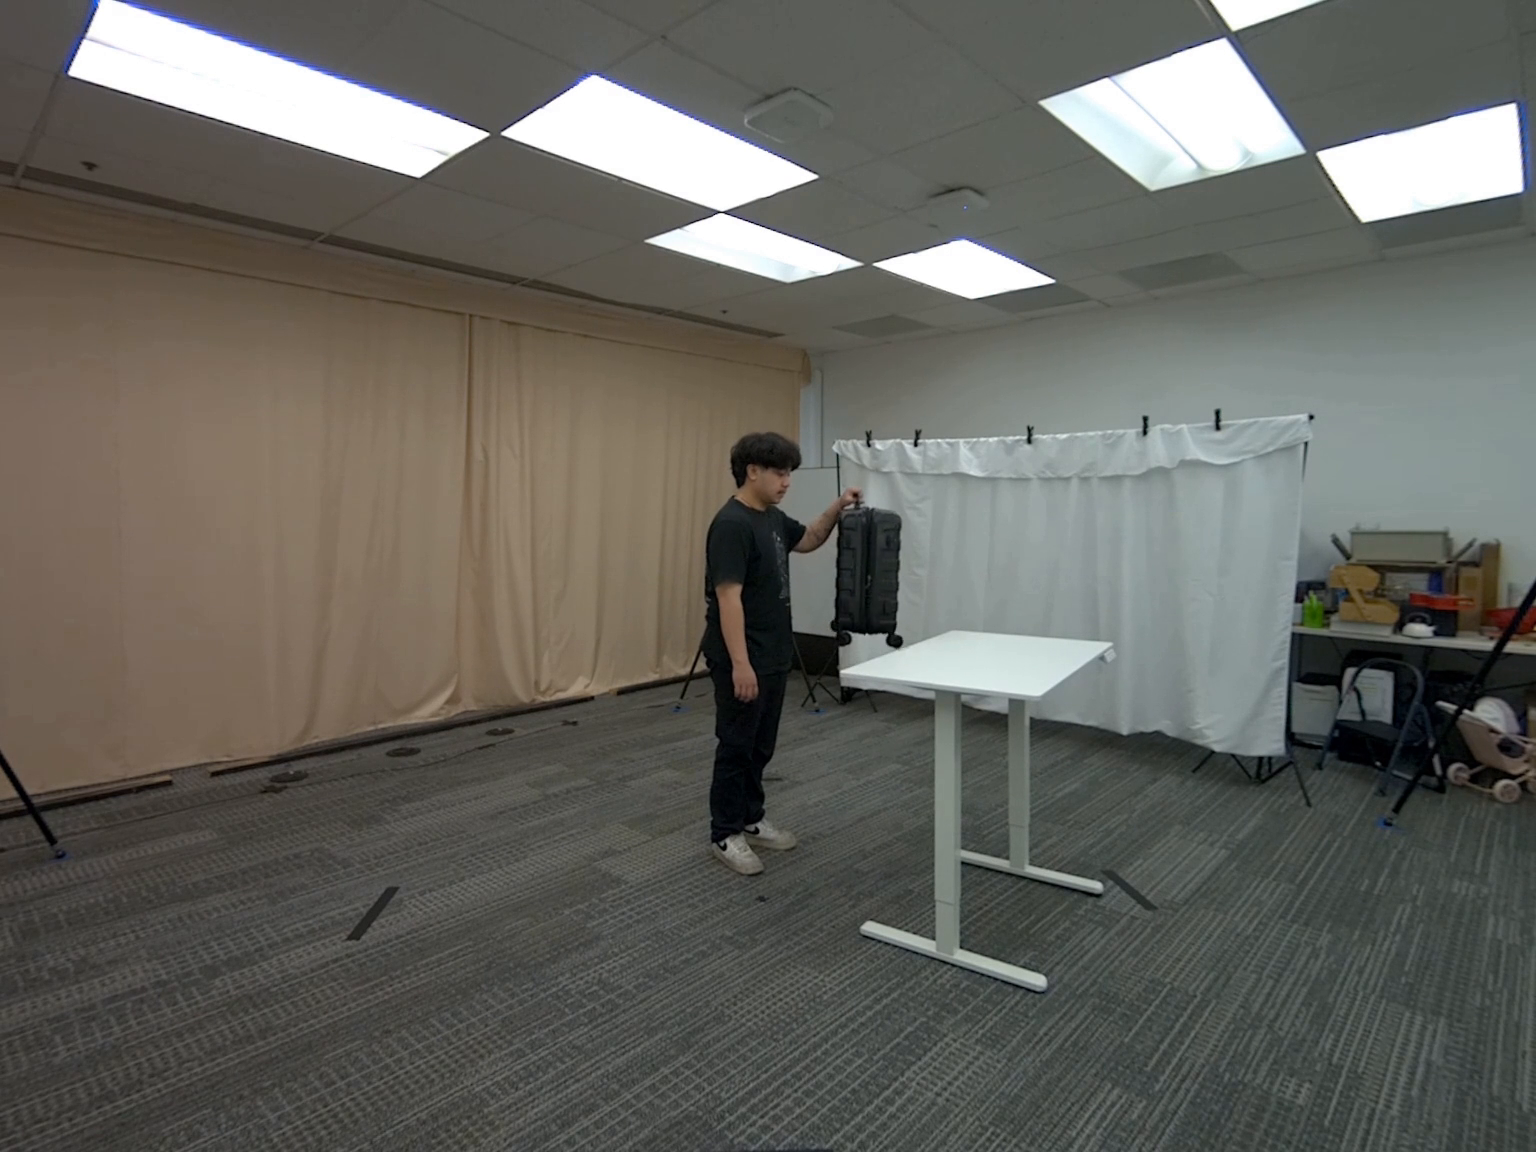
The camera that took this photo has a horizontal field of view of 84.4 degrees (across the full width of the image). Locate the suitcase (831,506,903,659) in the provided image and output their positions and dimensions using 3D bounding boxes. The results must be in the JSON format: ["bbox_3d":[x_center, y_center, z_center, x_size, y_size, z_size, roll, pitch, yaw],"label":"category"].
[{"bbox_3d":[0.418,-0.011,3.440,0.251,0.548,0.372,2,4,8],"label":"suitcase"}]
